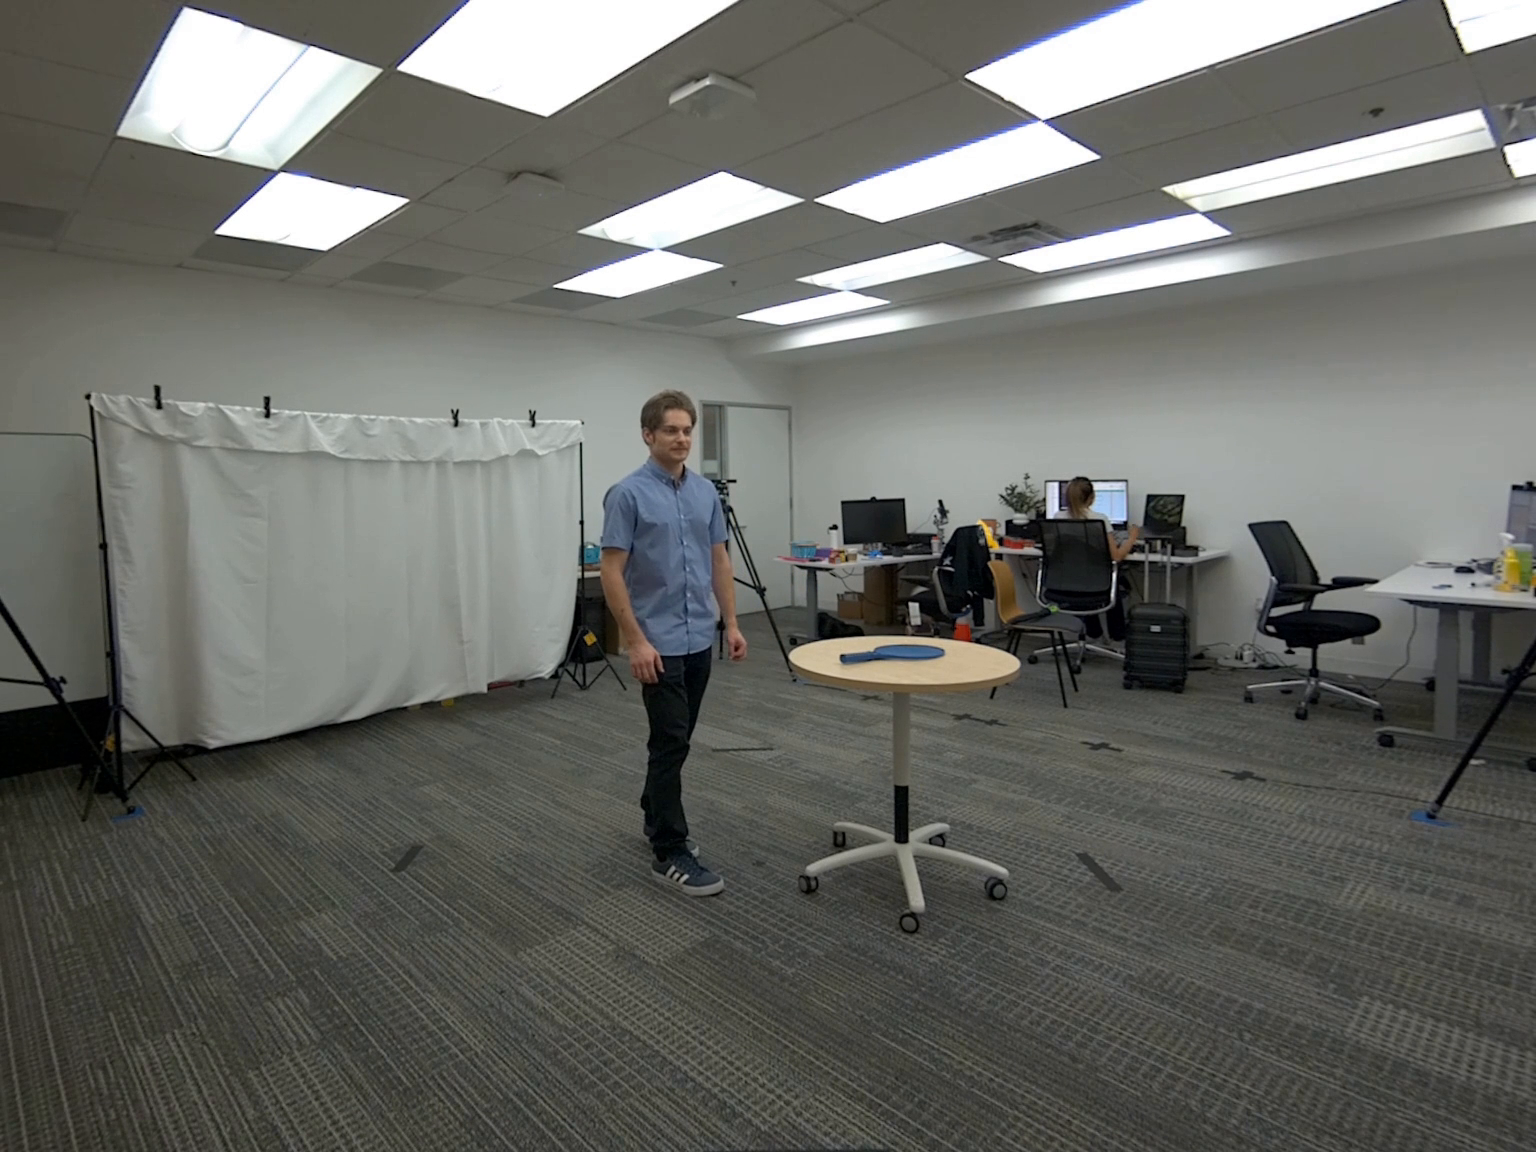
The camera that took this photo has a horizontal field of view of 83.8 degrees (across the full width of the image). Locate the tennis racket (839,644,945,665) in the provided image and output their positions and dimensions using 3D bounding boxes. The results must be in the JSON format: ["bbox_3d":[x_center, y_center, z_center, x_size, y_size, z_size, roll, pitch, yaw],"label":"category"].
[{"bbox_3d":[0.427,0.266,2.911,0.422,0.031,0.220,-3,8,-34],"label":"tennis racket"}]
